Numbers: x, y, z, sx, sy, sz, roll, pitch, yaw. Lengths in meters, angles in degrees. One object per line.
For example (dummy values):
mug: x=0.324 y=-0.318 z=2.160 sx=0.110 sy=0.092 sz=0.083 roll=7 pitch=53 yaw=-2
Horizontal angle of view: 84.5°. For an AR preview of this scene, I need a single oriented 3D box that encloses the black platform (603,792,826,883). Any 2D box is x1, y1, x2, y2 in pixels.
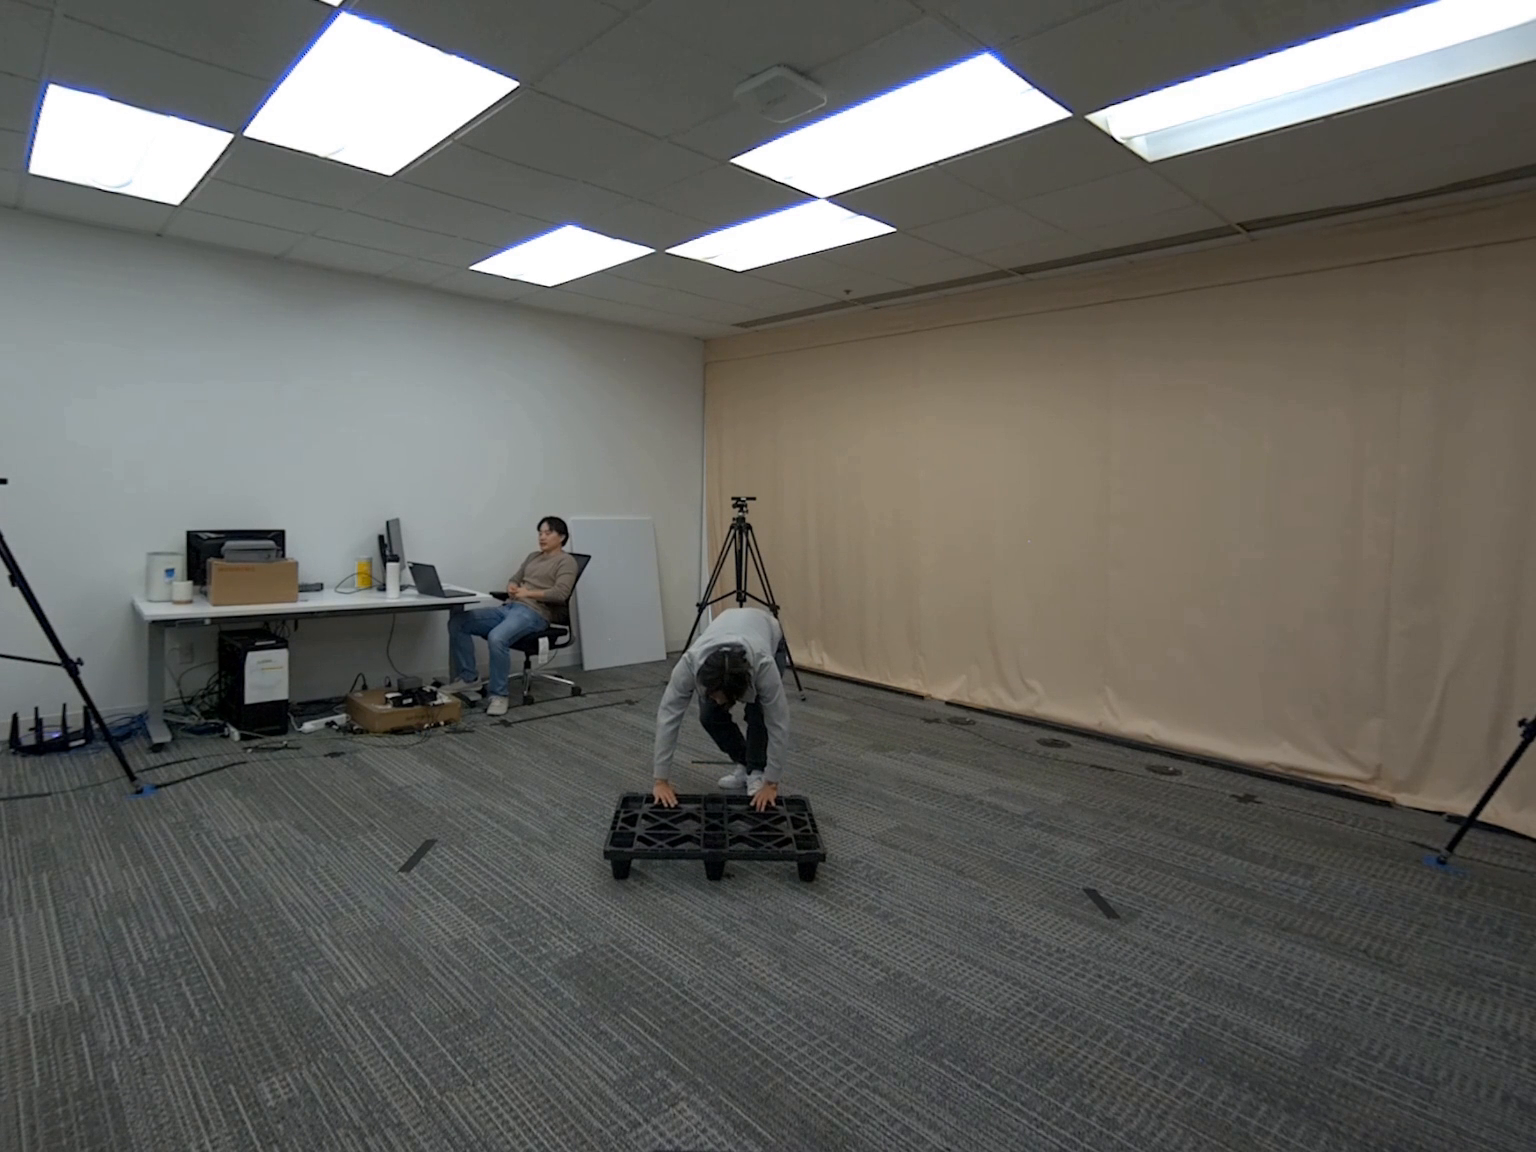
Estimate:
black platform: x=-0.218 y=1.017 z=3.291 sx=0.804 sy=0.143 sz=0.608 roll=1 pitch=5 yaw=-2
